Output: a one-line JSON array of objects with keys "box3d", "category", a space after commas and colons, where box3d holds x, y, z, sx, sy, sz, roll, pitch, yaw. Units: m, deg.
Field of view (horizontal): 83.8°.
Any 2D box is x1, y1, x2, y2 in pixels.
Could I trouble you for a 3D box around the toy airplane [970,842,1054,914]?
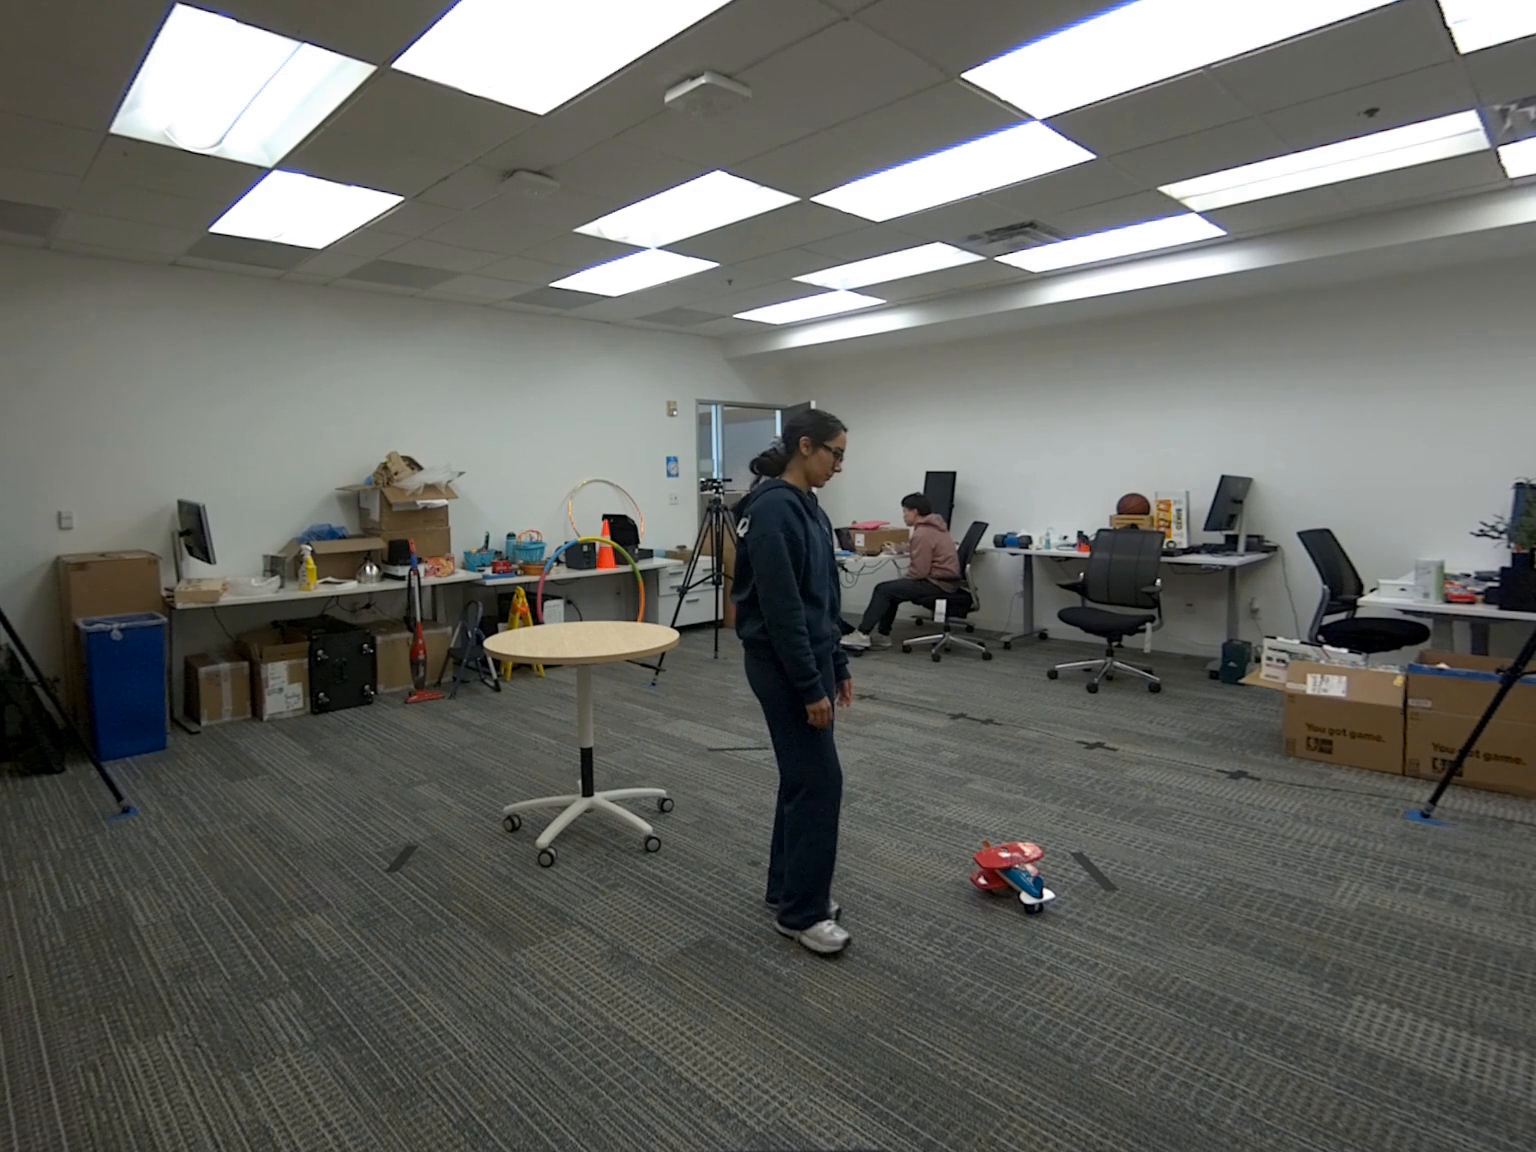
[{"box3d": [0.834, 0.992, 2.799, 0.267, 0.156, 0.244, 2, 6, 41], "category": "toy airplane"}]
